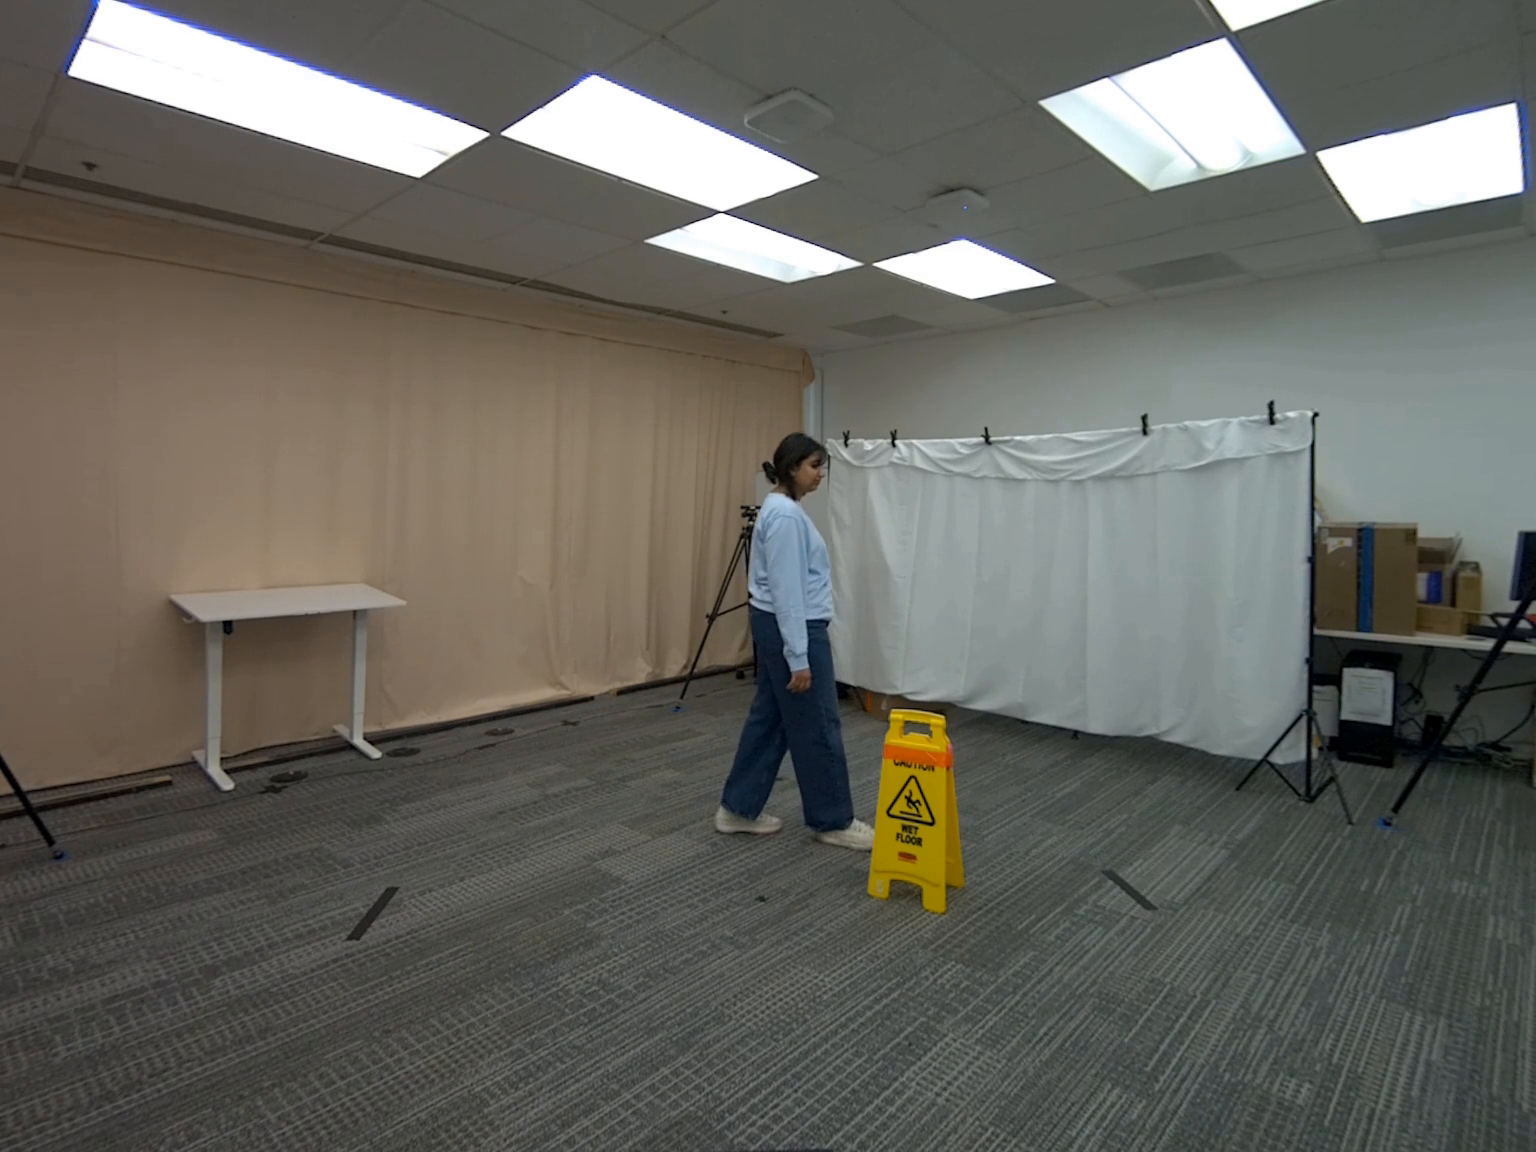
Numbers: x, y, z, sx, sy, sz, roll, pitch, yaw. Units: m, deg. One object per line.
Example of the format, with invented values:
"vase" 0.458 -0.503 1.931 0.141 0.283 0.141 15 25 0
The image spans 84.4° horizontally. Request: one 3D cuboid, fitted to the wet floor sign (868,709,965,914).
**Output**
"wet floor sign" 0.545 0.813 3.028 0.290 0.645 0.282 2 3 29
